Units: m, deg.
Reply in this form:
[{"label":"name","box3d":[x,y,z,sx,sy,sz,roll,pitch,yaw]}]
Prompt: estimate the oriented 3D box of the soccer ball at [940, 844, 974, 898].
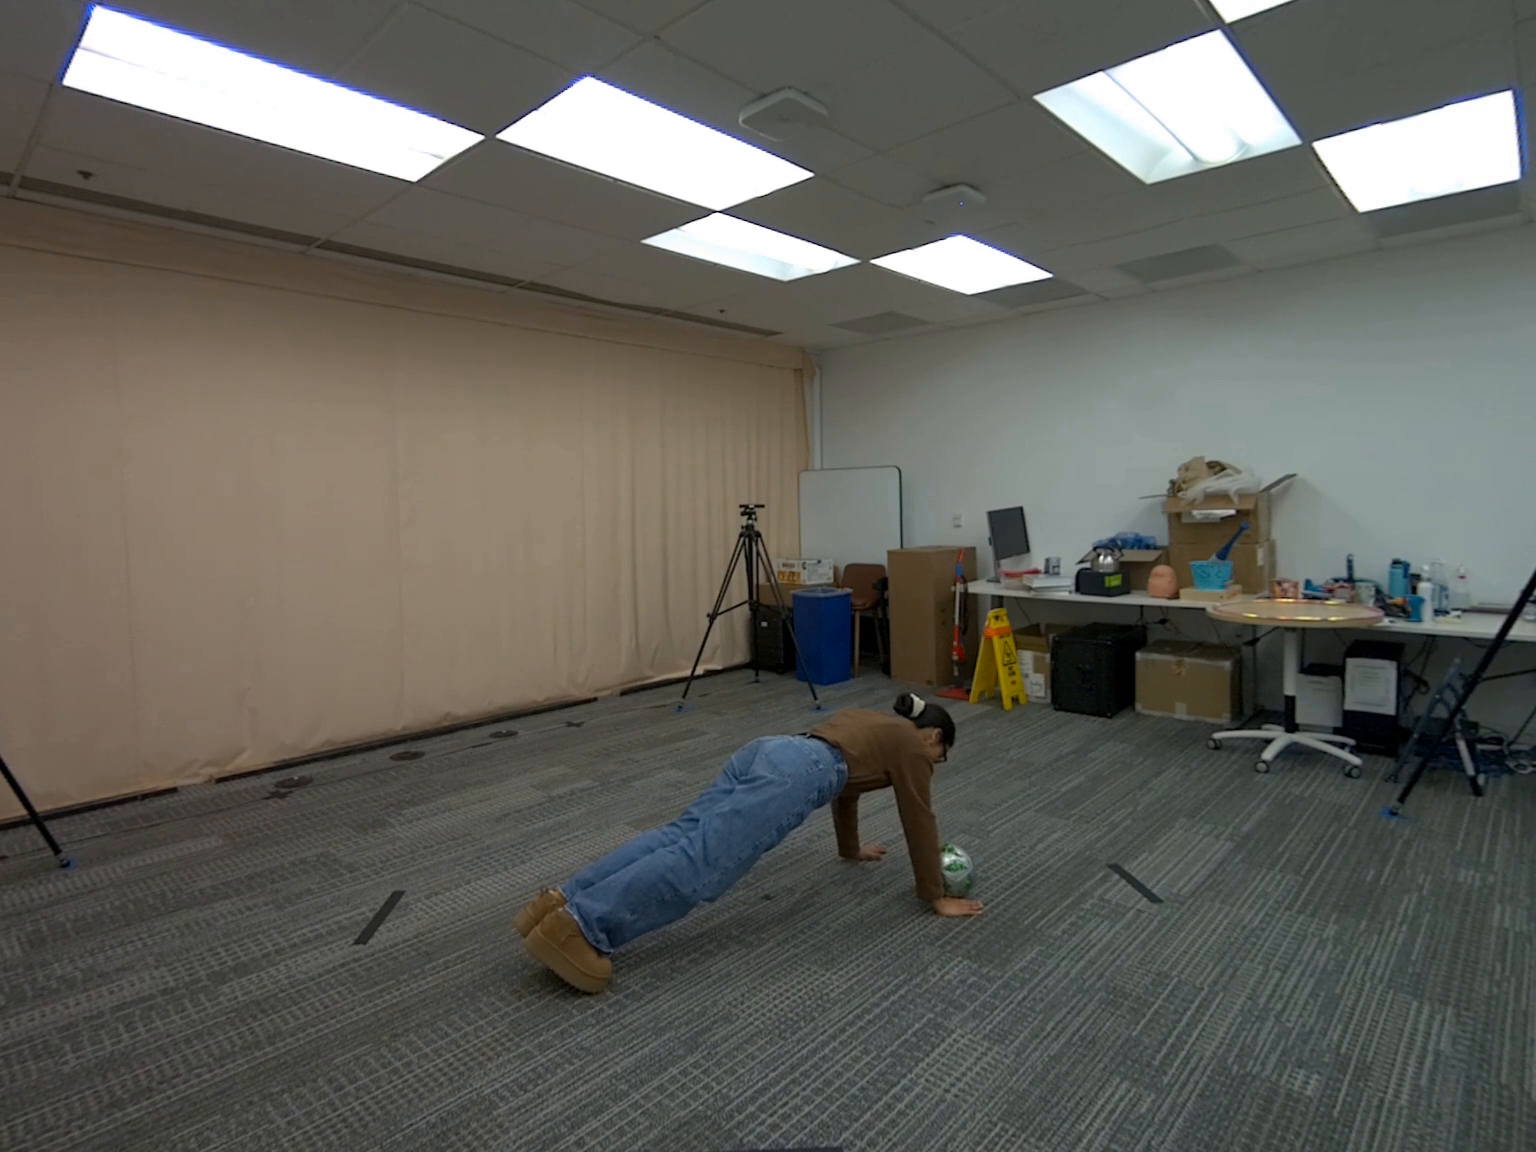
[{"label":"soccer ball","box3d":[0.639,1.037,2.958,0.187,0.187,0.188,-1,4,-2]}]
